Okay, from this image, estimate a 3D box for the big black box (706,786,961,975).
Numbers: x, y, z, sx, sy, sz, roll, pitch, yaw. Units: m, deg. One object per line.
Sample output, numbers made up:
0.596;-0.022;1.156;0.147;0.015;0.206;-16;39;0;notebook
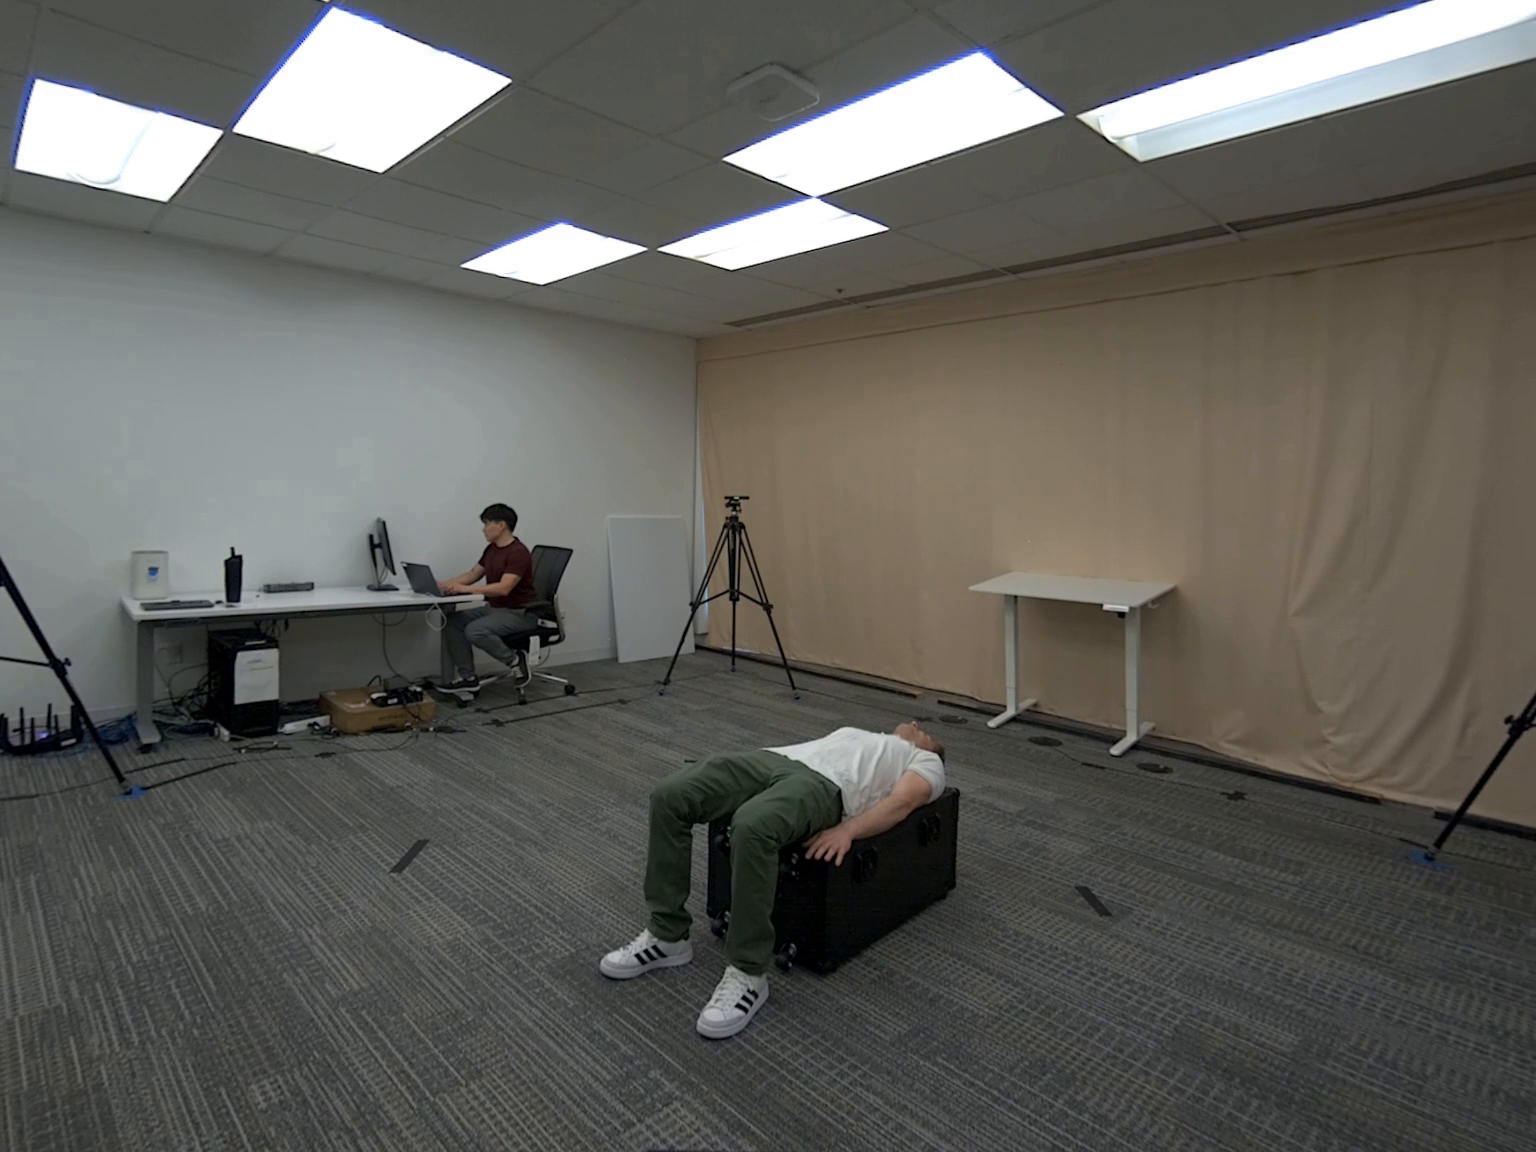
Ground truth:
0.204;0.948;2.843;0.537;0.384;0.849;6;8;42;big black box
